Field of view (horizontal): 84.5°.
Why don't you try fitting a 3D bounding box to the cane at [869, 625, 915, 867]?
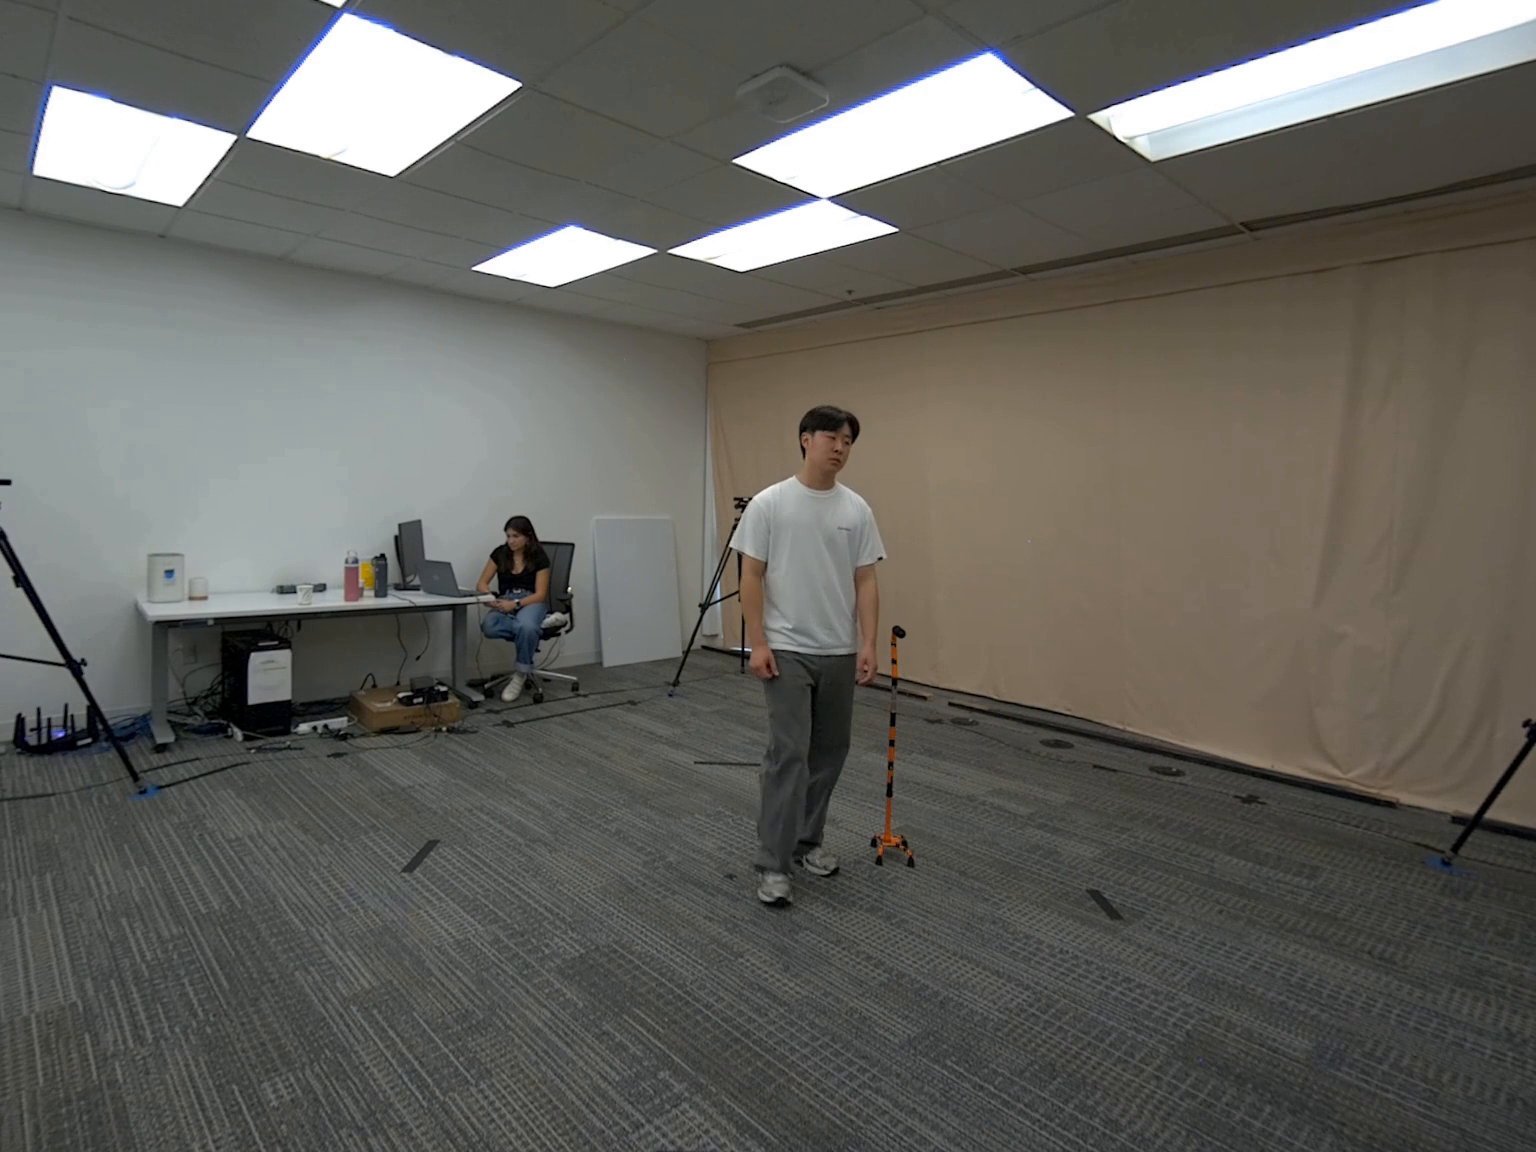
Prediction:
[{"bbox_3d":[0.496,0.654,3.297,0.152,0.906,0.206,2,3,1],"label":"cane"}]
